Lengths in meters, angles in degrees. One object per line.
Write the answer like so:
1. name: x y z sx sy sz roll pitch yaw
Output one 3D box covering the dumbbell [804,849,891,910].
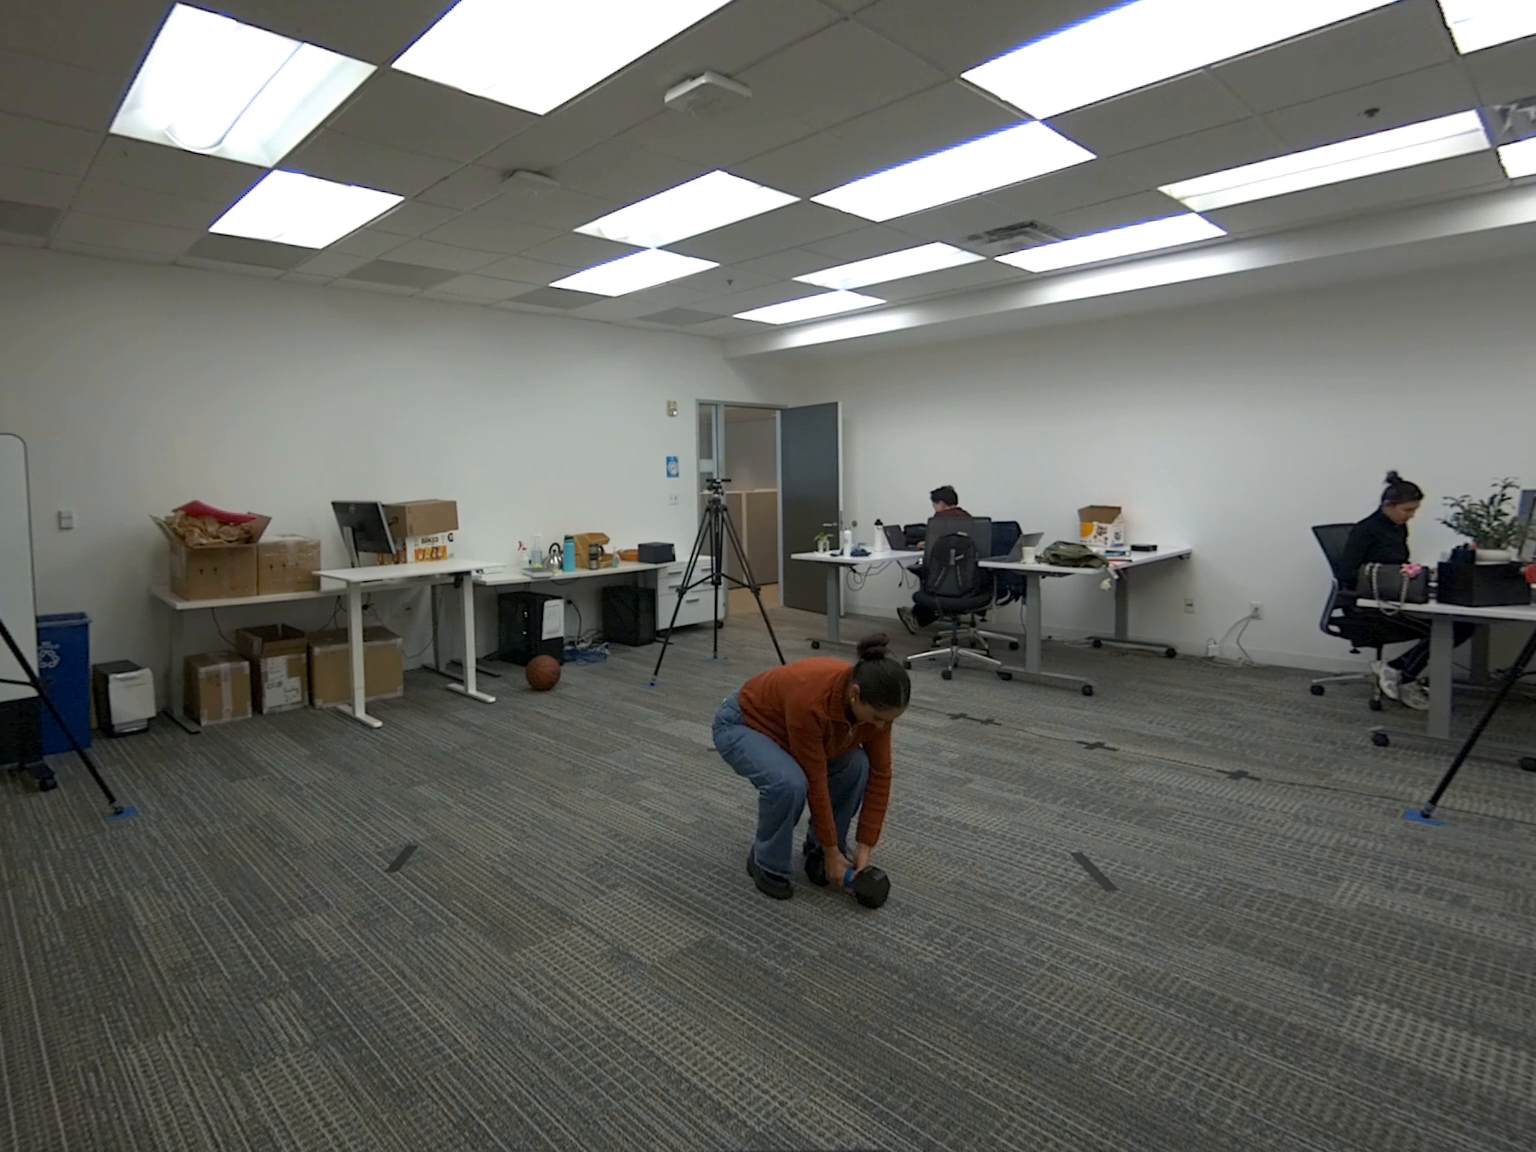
1. dumbbell: 0.258 0.994 2.867 0.120 0.108 0.303 -7 8 -44
